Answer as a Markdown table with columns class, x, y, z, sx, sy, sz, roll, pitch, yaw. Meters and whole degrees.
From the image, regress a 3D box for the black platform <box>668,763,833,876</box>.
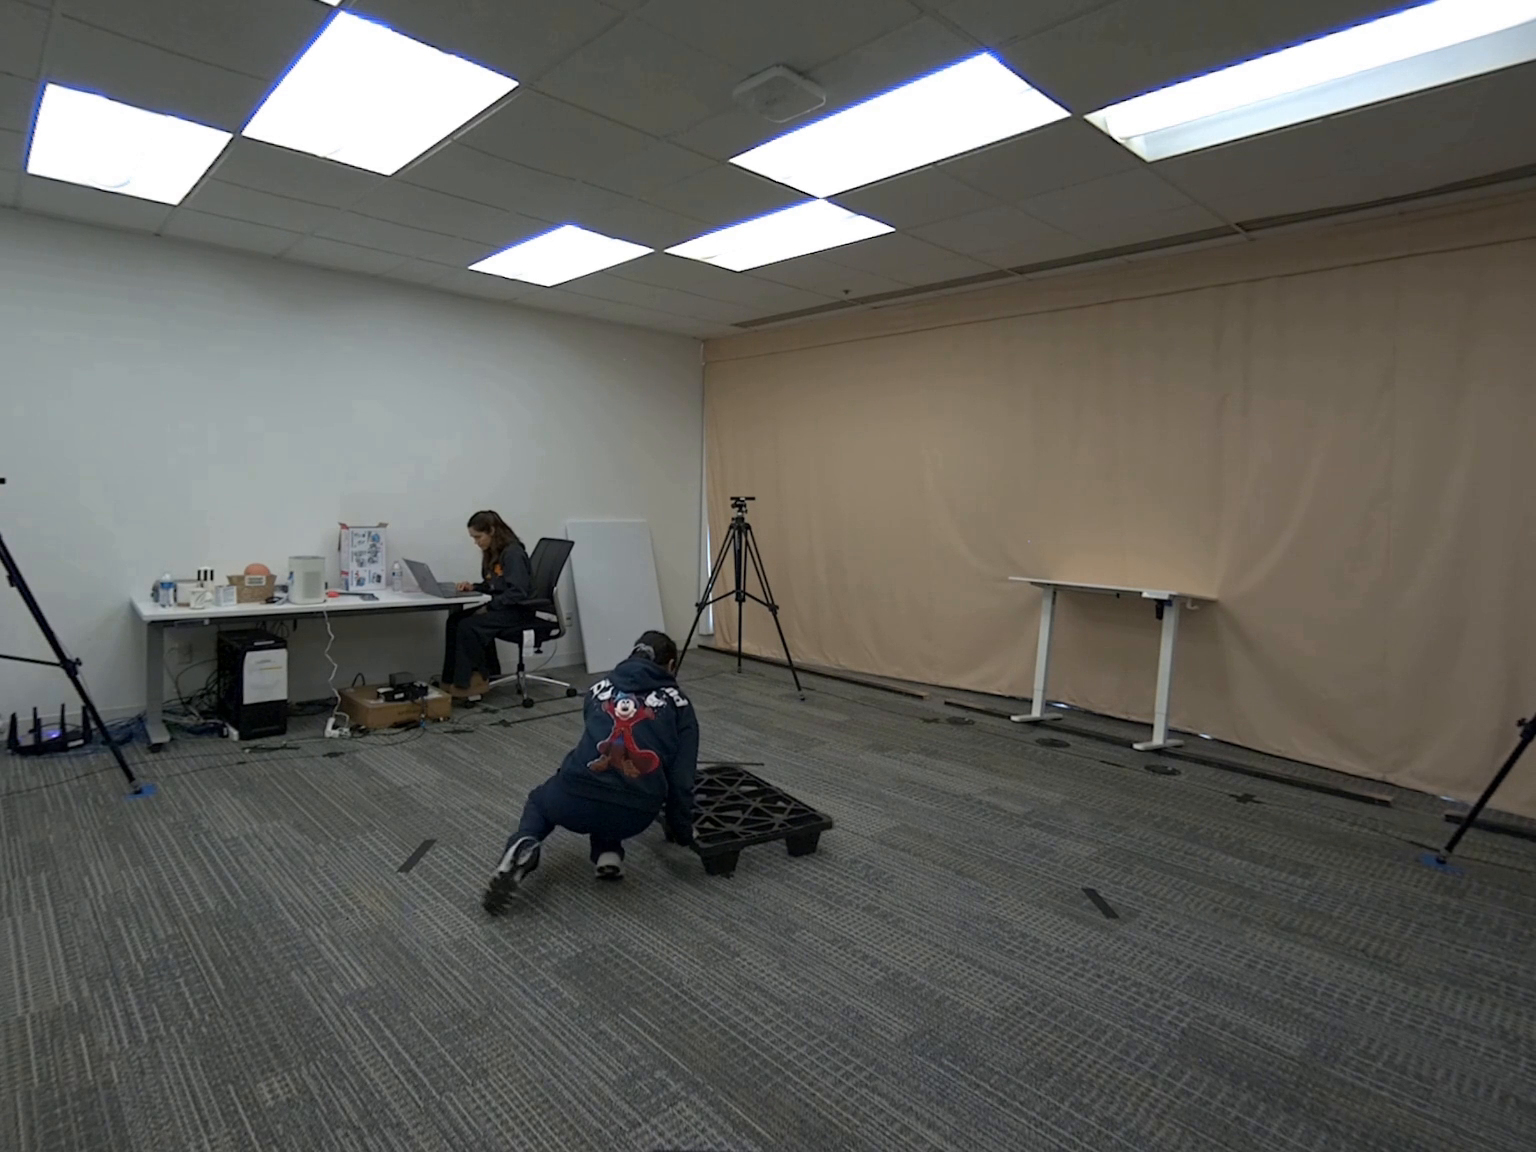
| class | x | y | z | sx | sy | sz | roll | pitch | yaw |
| --- | --- | --- | --- | --- | --- | --- | --- | --- | --- |
| black platform | -0.213 | 1.001 | 3.516 | 0.593 | 0.143 | 0.824 | -2 | 6 | -32 |
